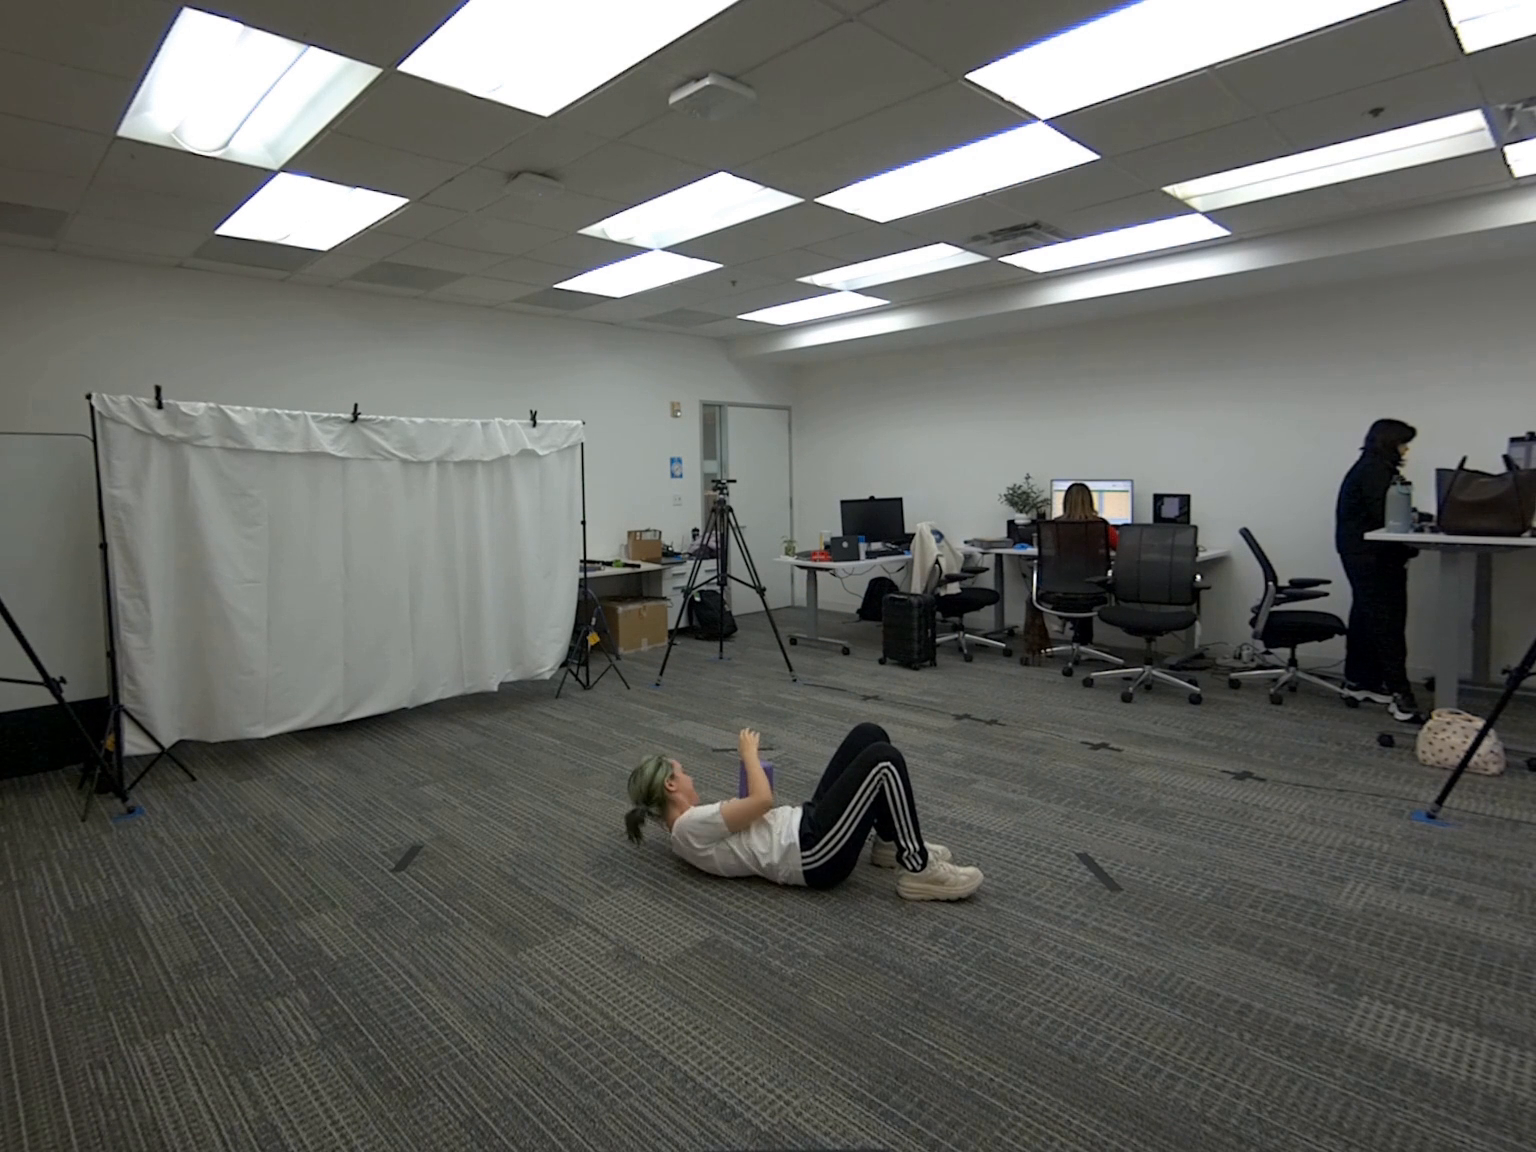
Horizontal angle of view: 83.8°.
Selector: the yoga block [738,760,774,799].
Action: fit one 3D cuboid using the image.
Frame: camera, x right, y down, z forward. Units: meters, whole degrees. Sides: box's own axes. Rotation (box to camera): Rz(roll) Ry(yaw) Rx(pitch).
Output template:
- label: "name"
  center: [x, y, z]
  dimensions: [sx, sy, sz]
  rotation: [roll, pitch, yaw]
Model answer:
- label: "yoga block"
  center: [-0.046, 0.879, 3.545]
  dimensions: [0.074, 0.229, 0.153]
  rotation: [-2, 3, -37]
